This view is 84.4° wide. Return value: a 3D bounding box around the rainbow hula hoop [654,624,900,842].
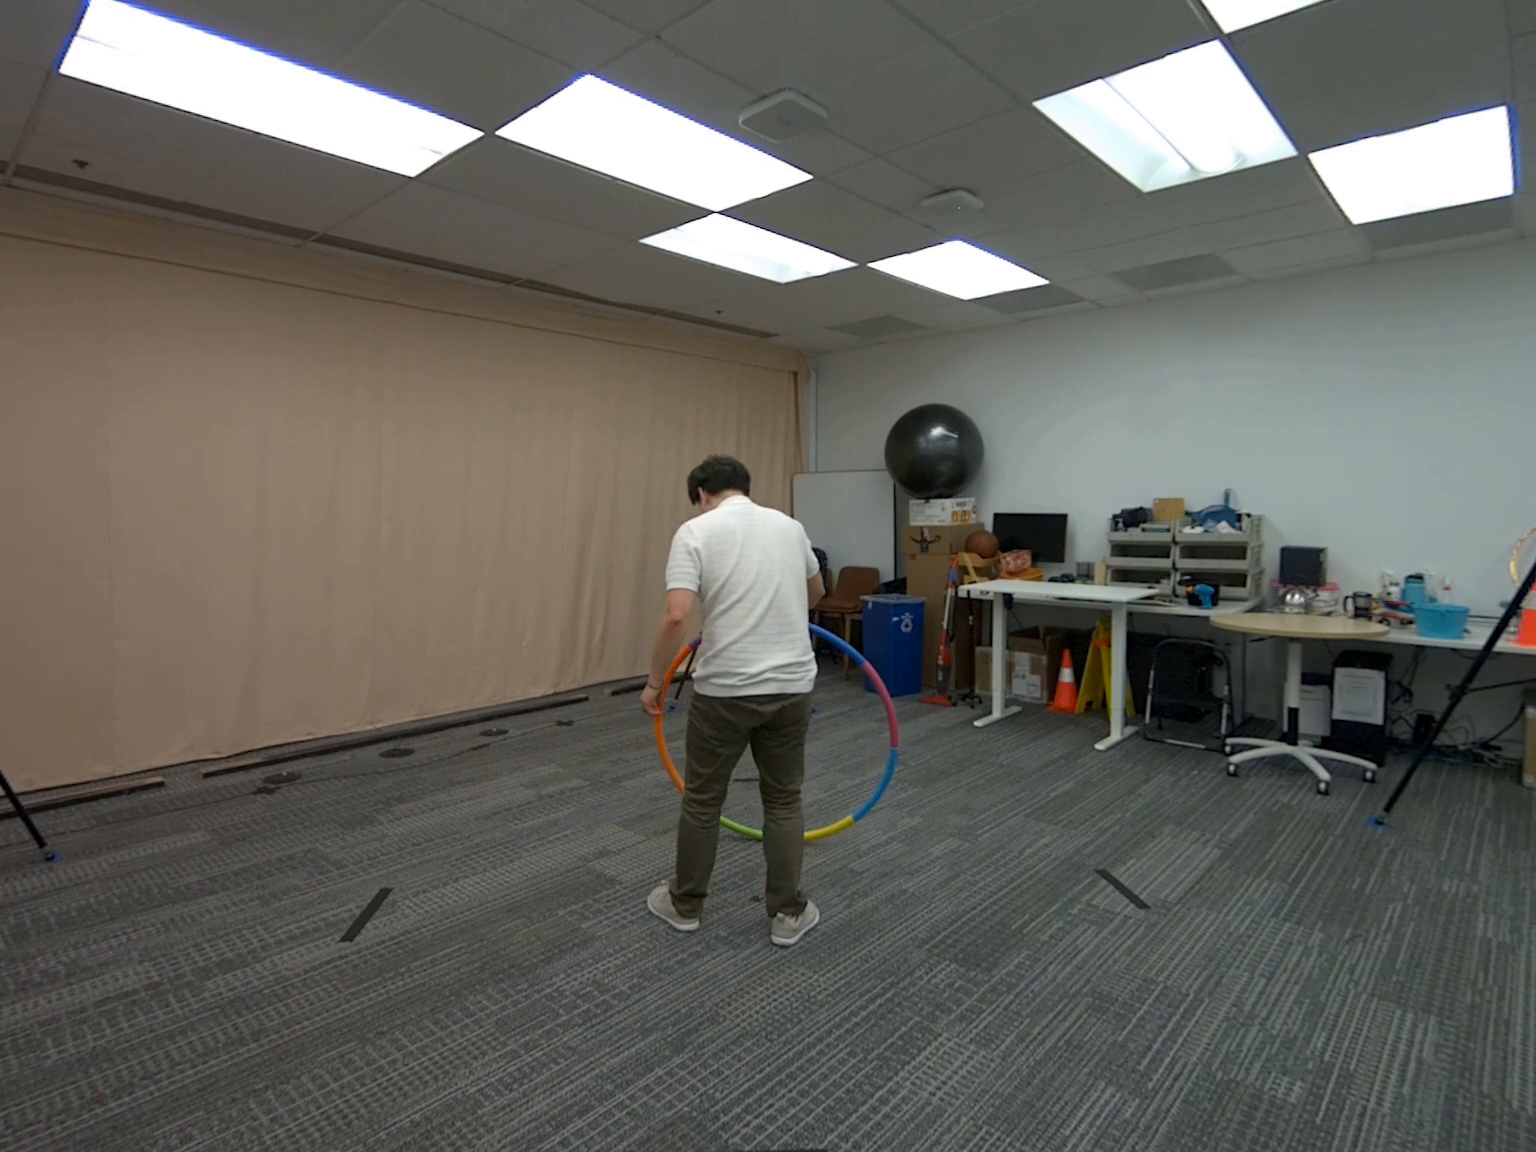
[{"bbox_3d":[0.023,0.633,3.380,0.992,0.968,0.035,1,16,12],"label":"rainbow hula hoop"}]
